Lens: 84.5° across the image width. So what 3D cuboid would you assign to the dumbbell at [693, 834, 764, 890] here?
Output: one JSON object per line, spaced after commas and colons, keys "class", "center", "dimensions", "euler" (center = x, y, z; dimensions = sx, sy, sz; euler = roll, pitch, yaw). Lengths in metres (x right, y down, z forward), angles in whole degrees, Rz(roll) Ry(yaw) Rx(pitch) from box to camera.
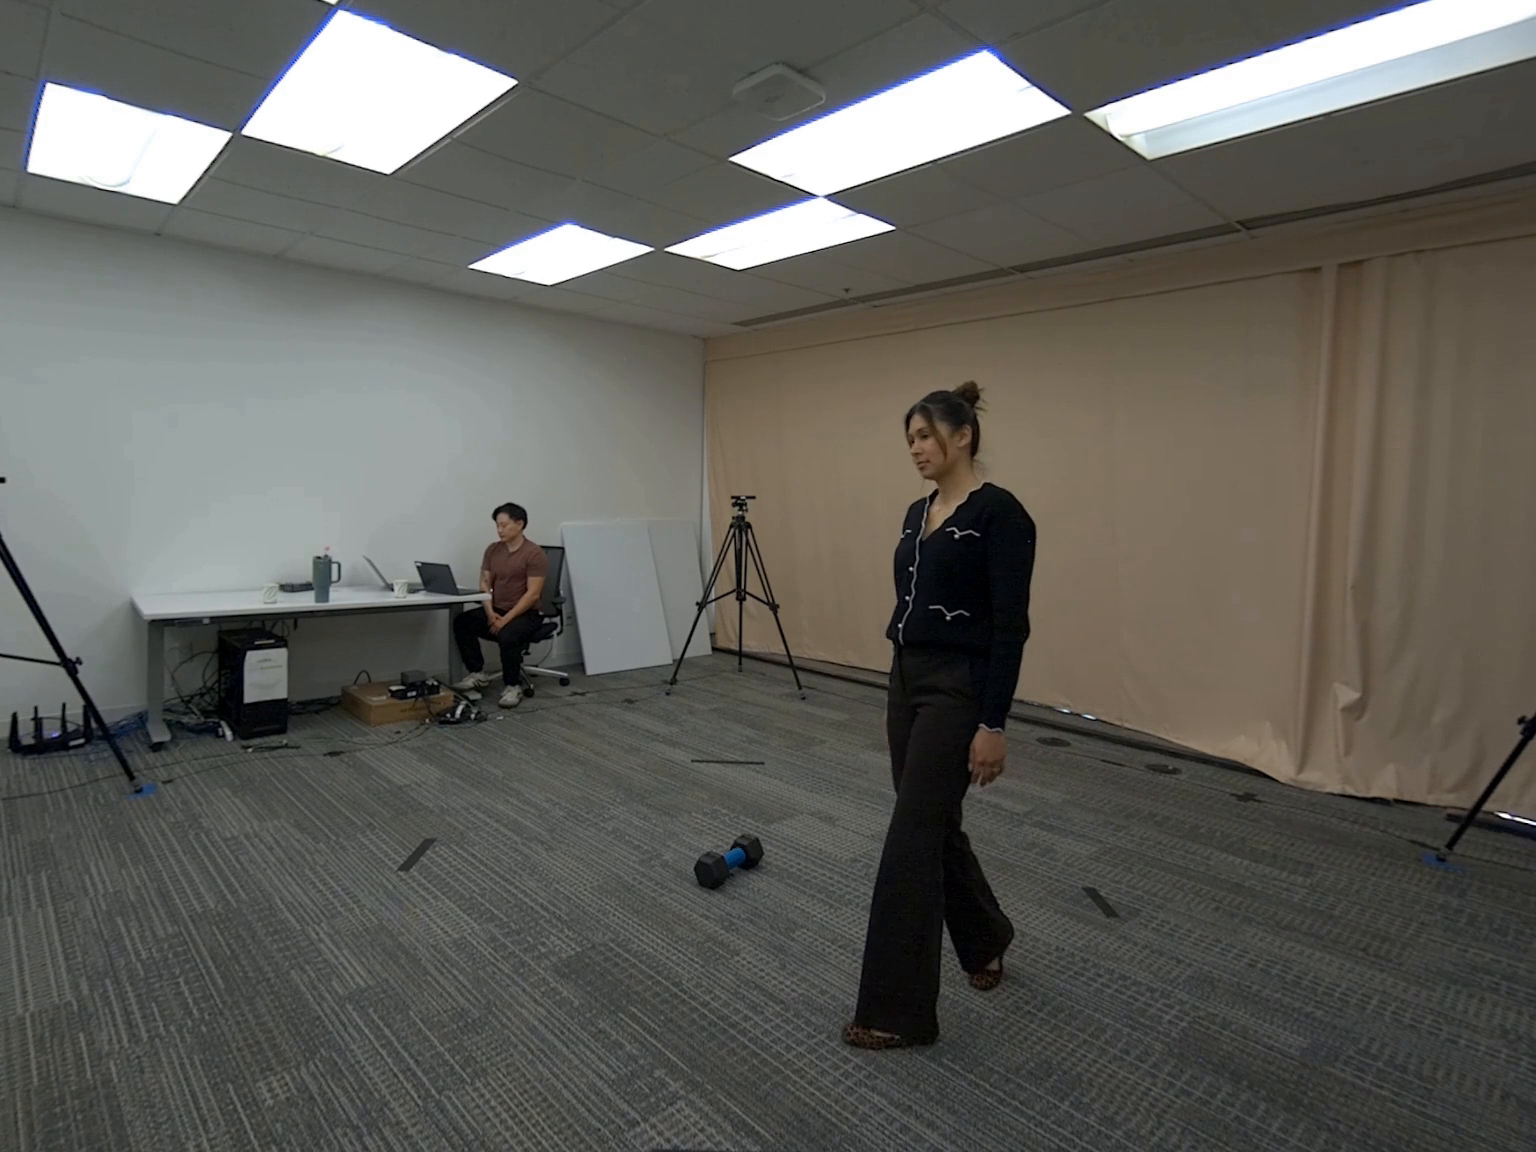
{"class": "dumbbell", "center": [-0.152, 1.048, 3.099], "dimensions": [0.109, 0.124, 0.287], "euler": [-31, -14, 34]}
